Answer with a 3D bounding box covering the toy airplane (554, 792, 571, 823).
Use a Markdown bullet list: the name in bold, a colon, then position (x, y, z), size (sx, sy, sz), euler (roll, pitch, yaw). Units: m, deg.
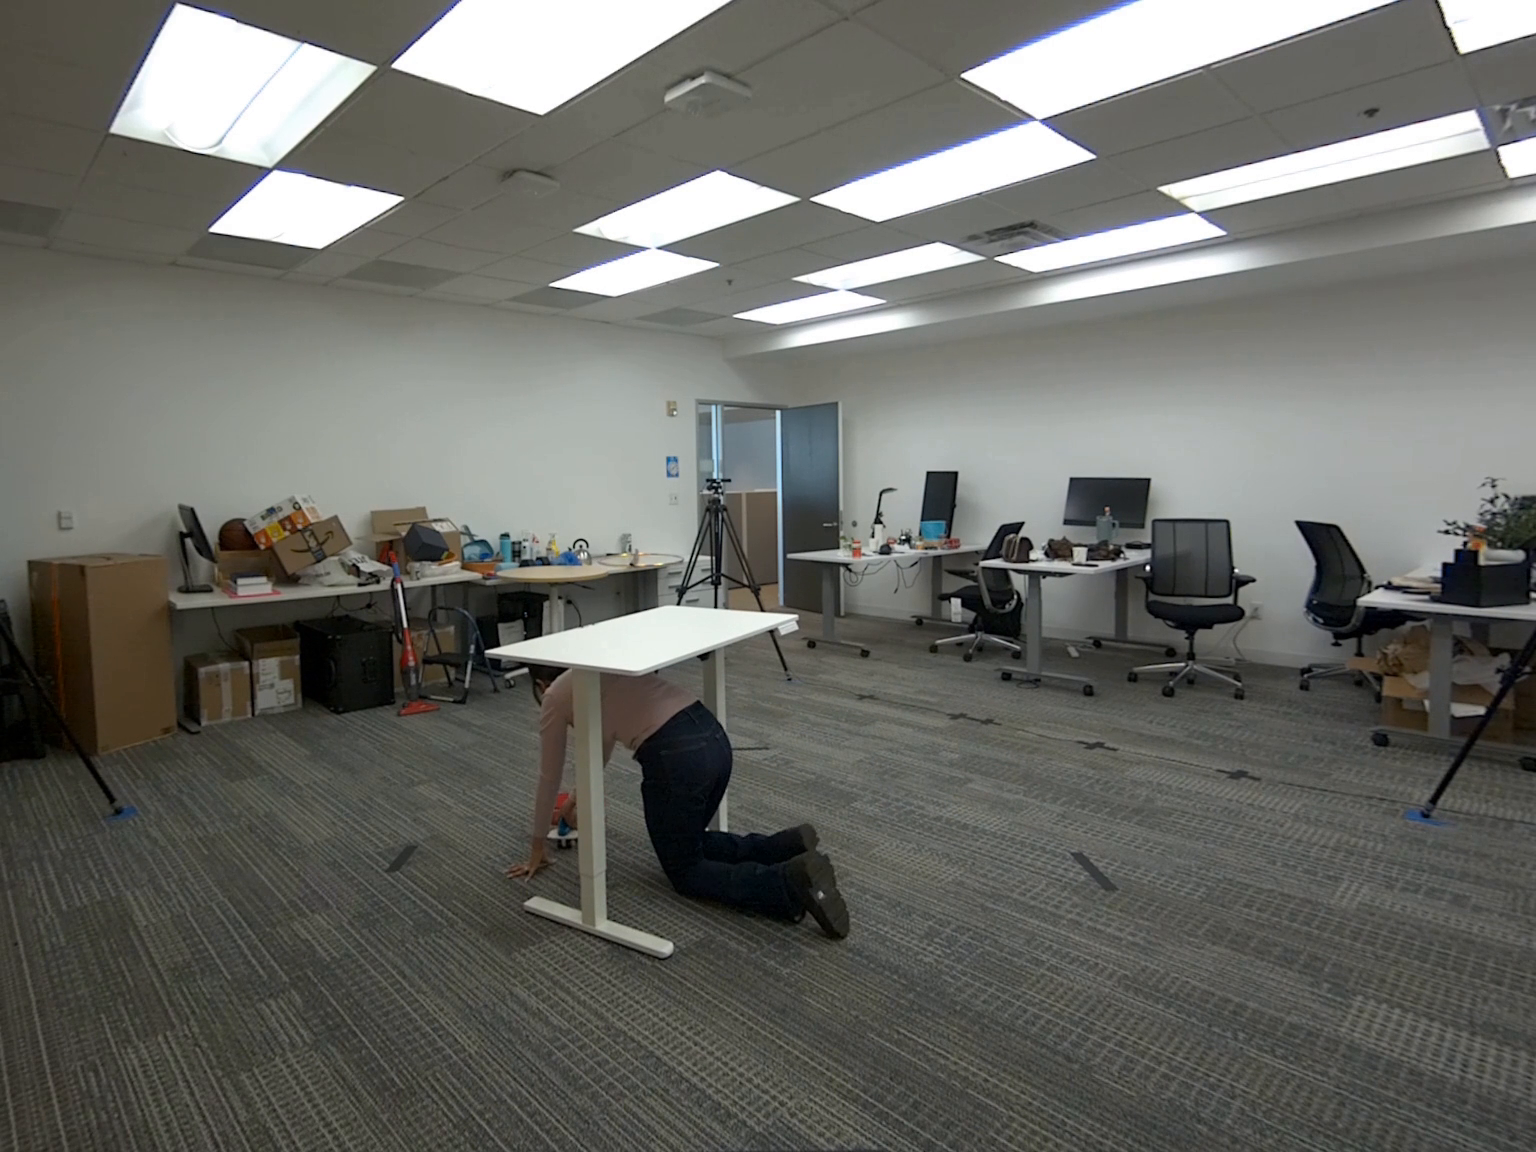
- **toy airplane**: position (-0.745, 0.957, 3.355), size (0.246, 0.156, 0.265), euler (-4, 4, -25)
